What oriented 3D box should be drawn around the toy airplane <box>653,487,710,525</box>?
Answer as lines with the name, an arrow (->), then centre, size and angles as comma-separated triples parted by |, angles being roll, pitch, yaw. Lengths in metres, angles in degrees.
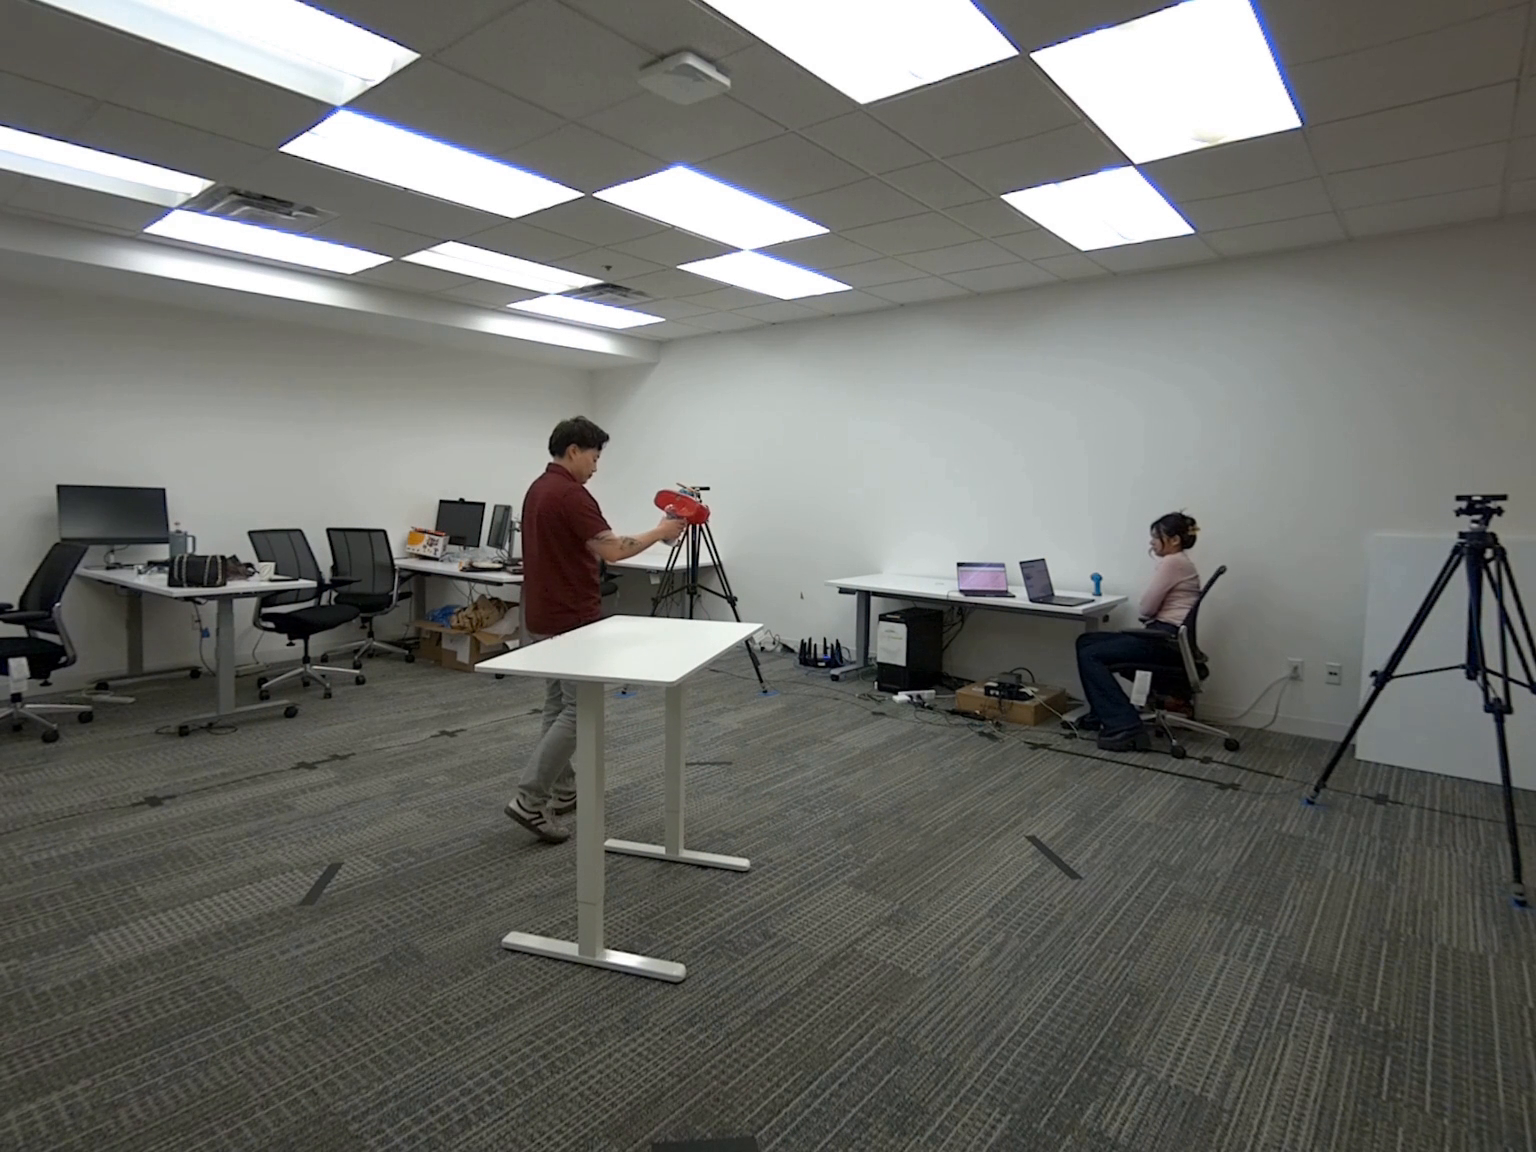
toy airplane -> -0.373, -0.249, 3.589 | 0.256, 0.265, 0.150 | -8, -35, 23
